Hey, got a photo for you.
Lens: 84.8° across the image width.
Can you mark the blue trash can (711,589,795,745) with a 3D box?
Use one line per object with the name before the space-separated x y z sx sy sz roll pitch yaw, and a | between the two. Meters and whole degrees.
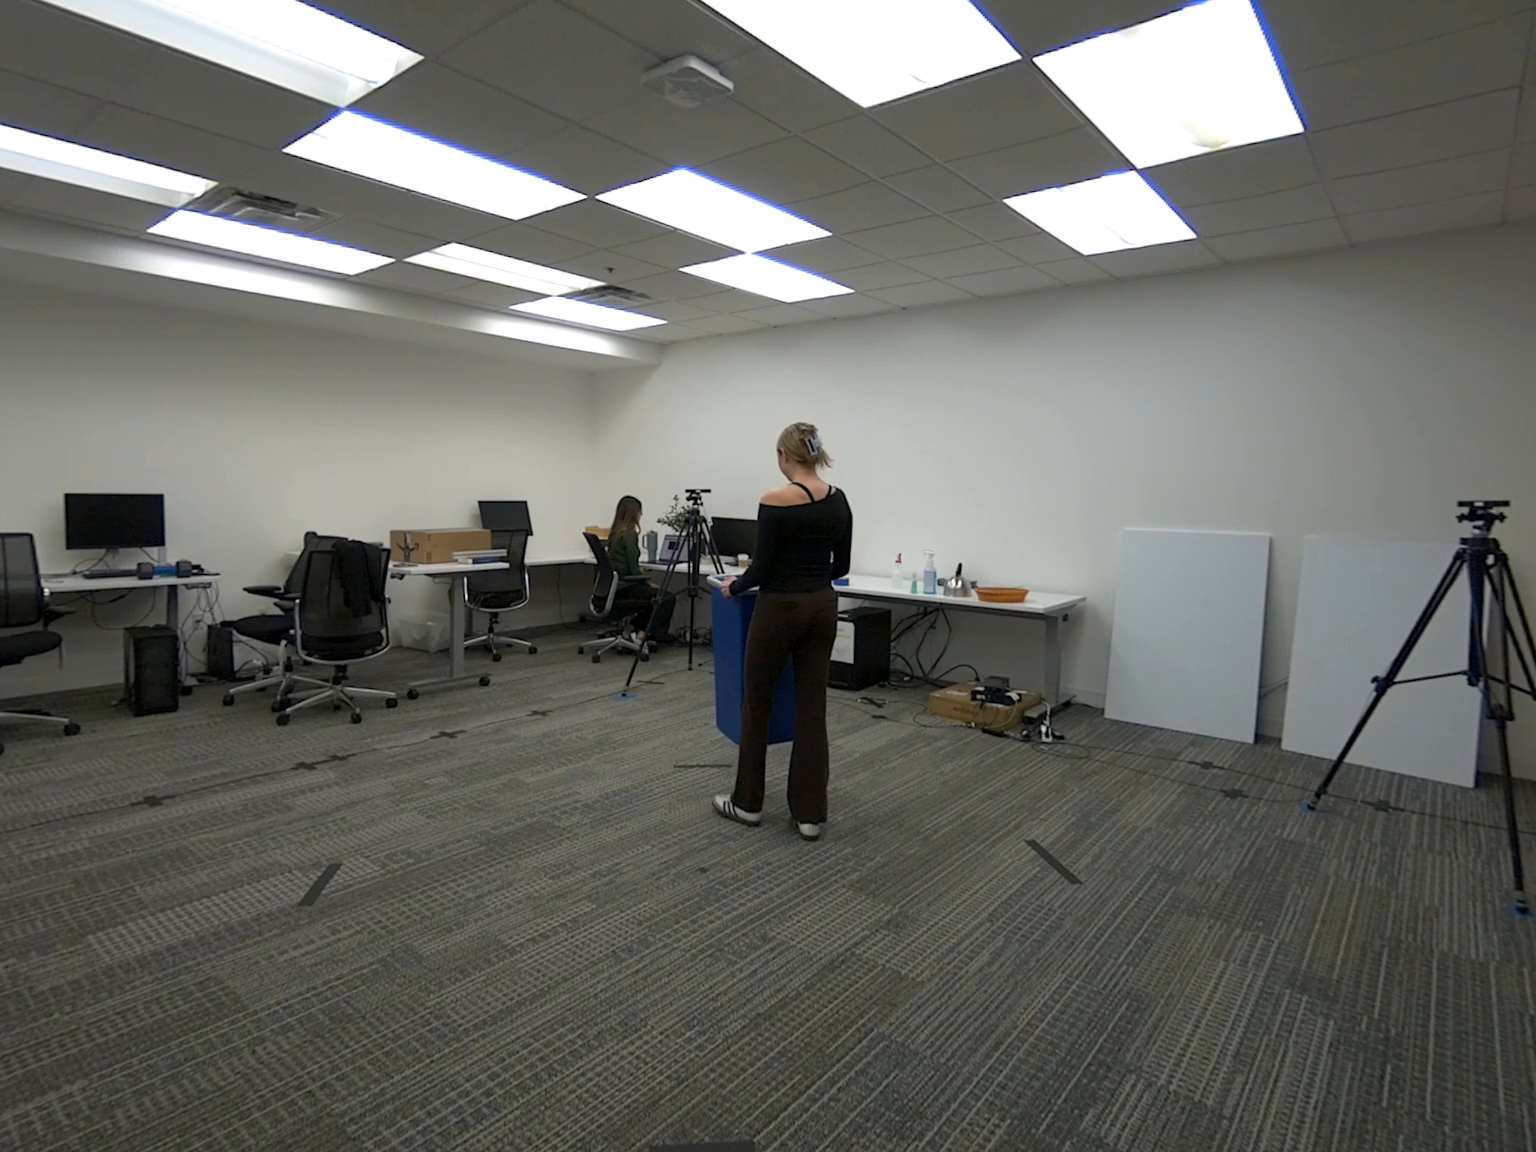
blue trash can | -0.059 0.369 3.837 0.366 0.709 0.389 -3 7 -24
